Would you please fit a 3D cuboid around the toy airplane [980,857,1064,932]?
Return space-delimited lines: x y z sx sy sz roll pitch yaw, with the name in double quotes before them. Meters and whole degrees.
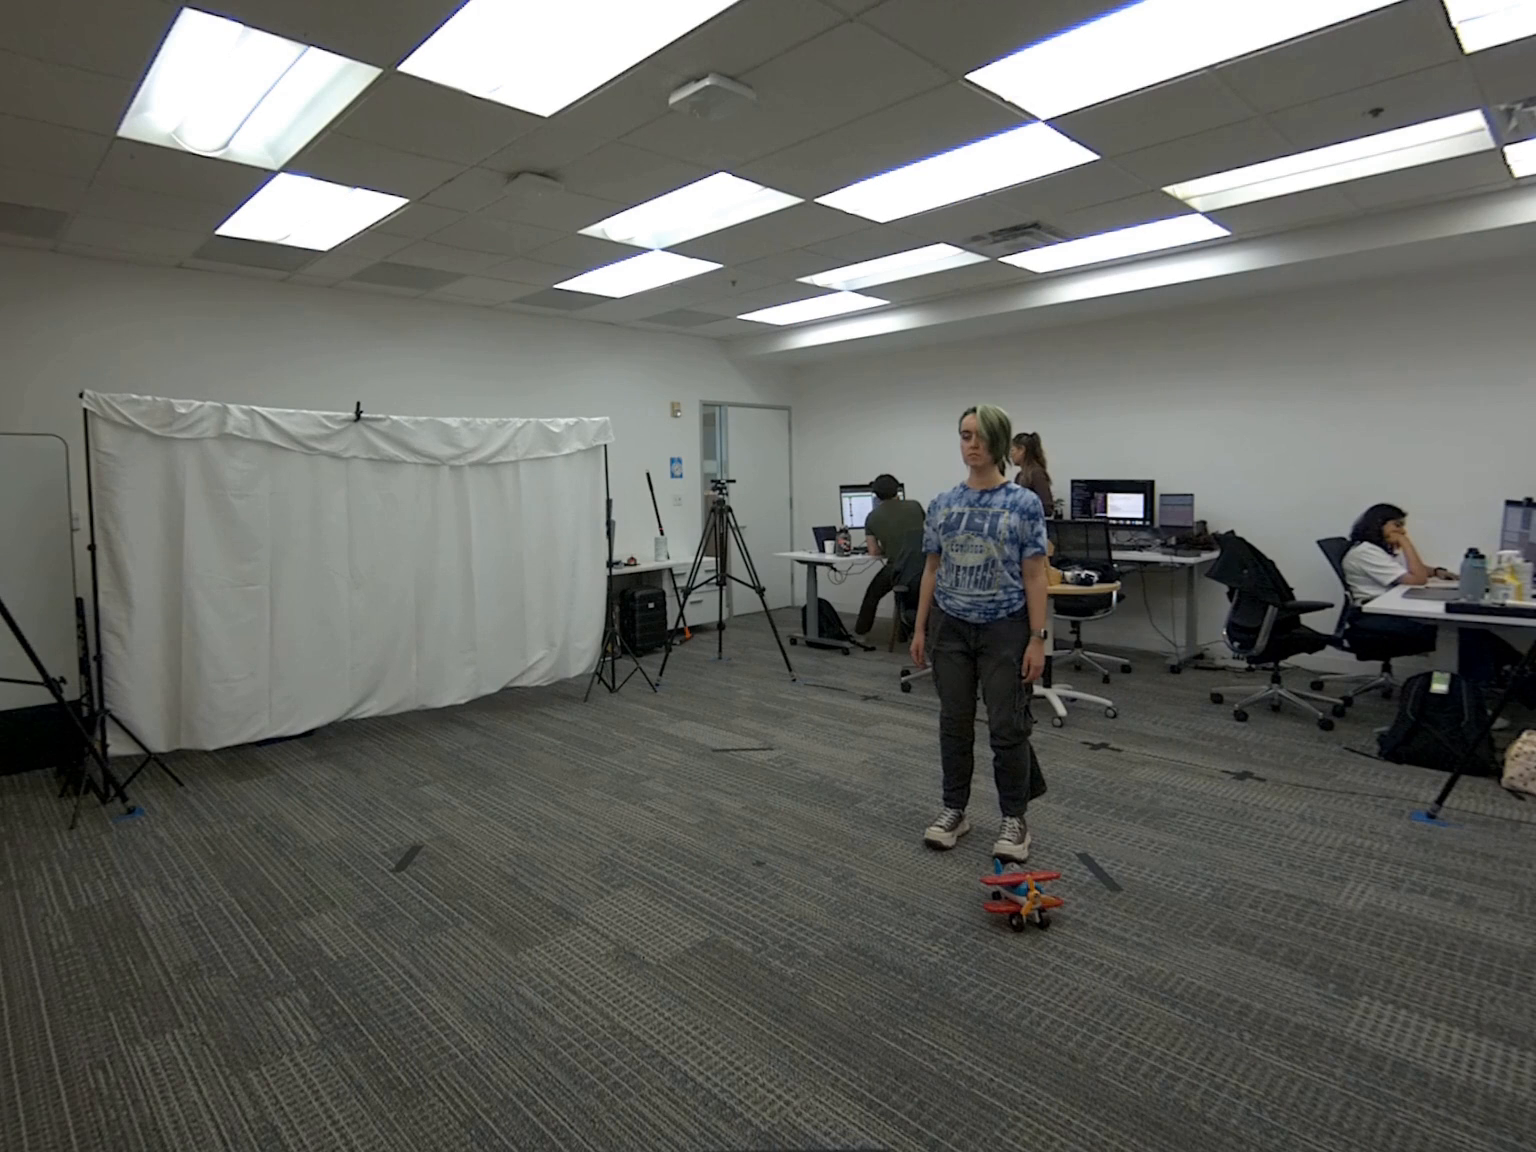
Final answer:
"toy airplane" 0.771 1.009 2.704 0.244 0.155 0.267 -5 8 -38
